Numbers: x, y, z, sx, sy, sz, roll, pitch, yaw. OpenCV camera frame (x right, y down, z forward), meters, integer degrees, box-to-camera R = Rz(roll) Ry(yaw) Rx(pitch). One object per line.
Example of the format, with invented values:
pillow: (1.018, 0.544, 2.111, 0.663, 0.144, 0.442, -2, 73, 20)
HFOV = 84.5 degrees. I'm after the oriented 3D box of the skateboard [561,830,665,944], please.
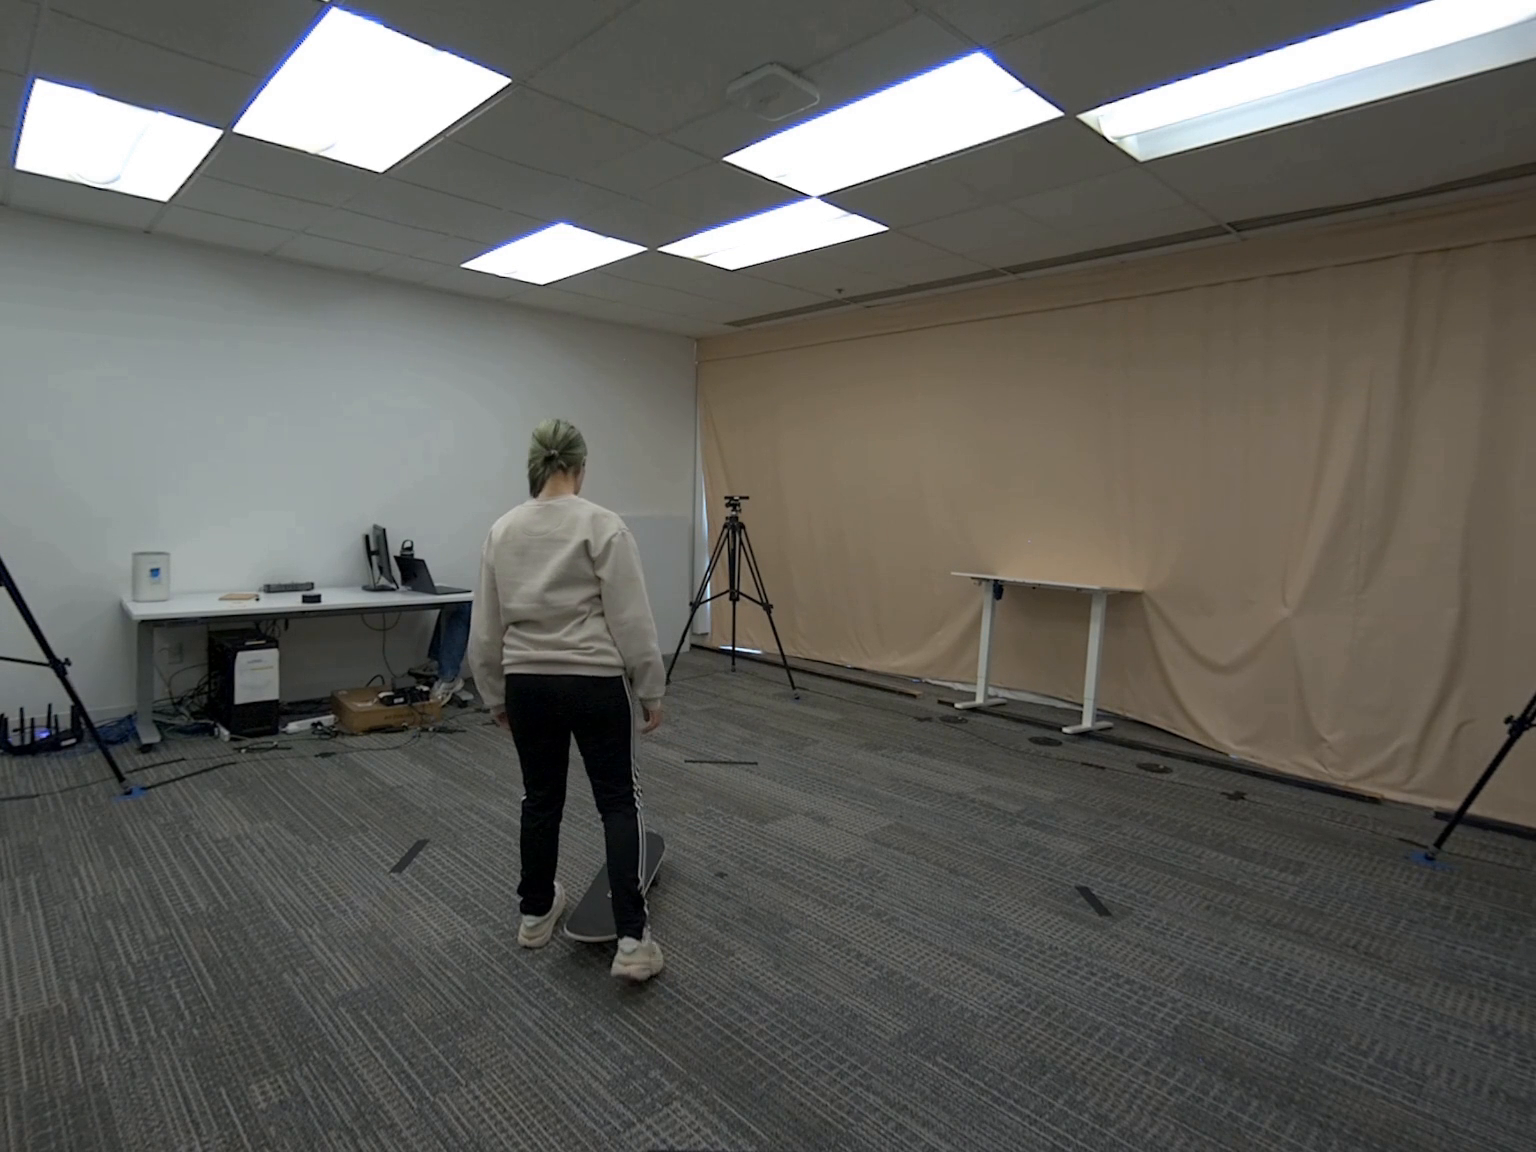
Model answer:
skateboard: (-0.503, 1.064, 2.829, 0.194, 0.110, 0.784, 1, 5, 4)
